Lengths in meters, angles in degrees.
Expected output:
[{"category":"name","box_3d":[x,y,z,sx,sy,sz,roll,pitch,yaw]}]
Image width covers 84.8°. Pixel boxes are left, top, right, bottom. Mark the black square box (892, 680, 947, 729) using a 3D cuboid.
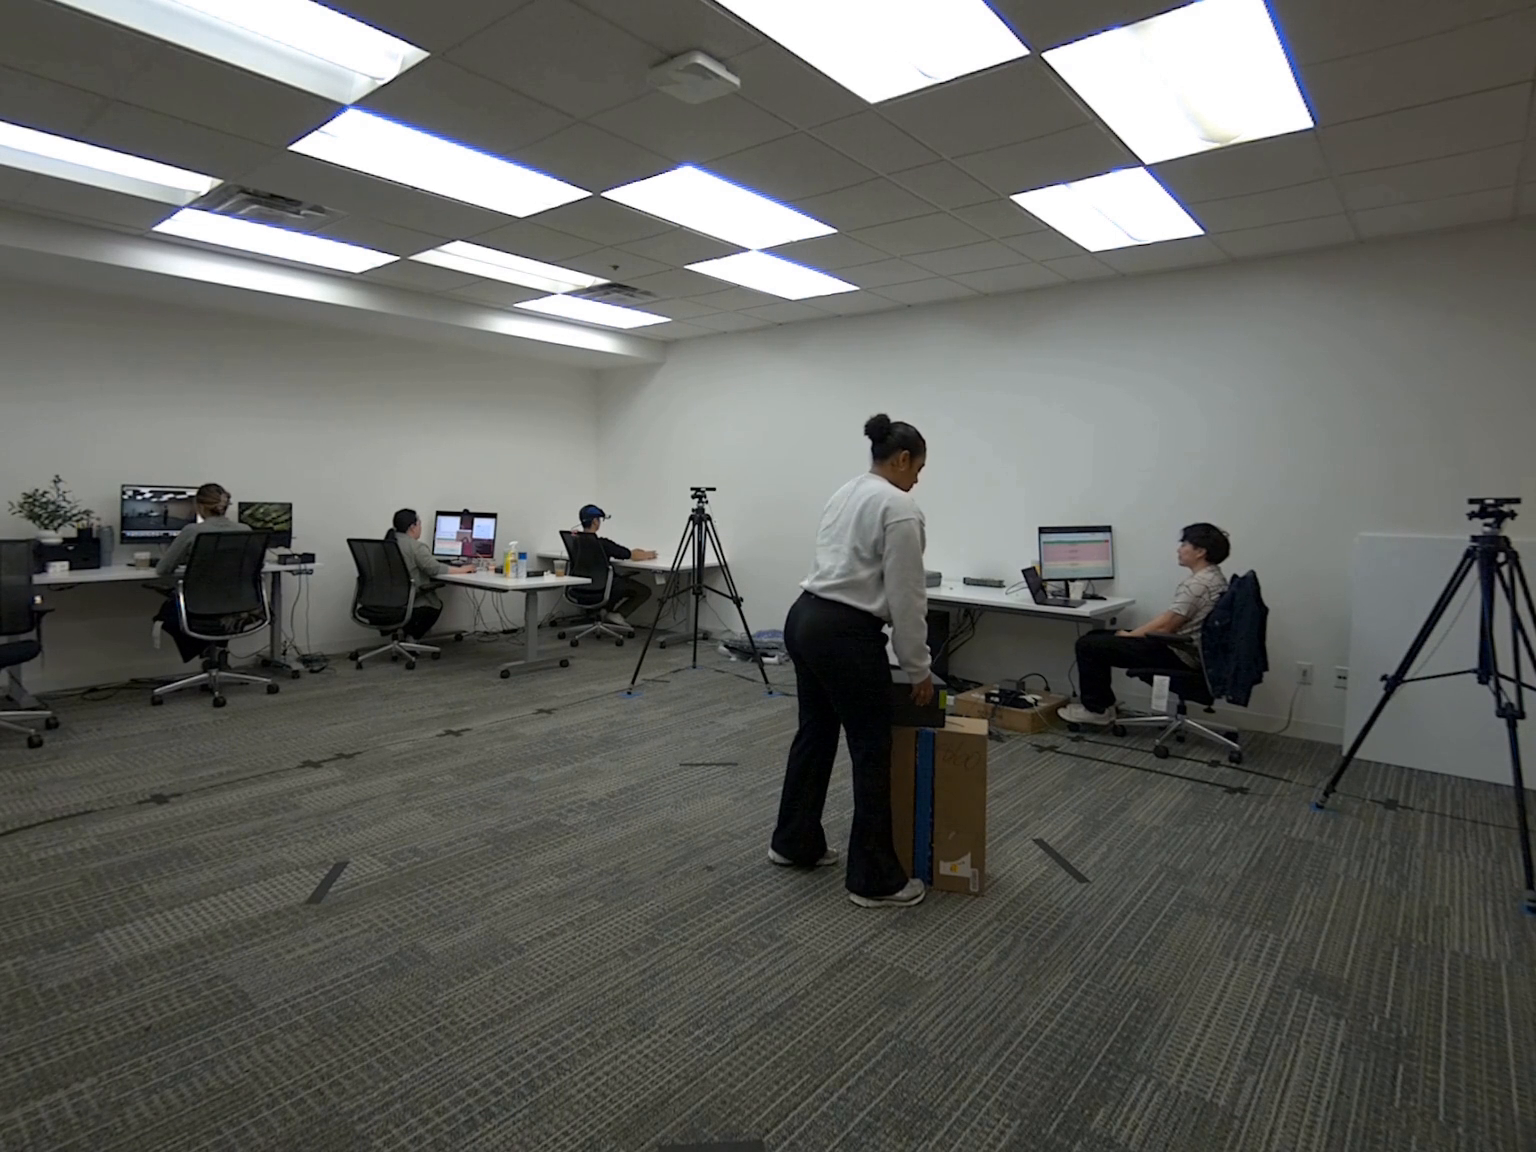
[{"category":"black square box","box_3d":[0.503,0.438,3.094,0.215,0.155,0.230,2,5,-7]}]
